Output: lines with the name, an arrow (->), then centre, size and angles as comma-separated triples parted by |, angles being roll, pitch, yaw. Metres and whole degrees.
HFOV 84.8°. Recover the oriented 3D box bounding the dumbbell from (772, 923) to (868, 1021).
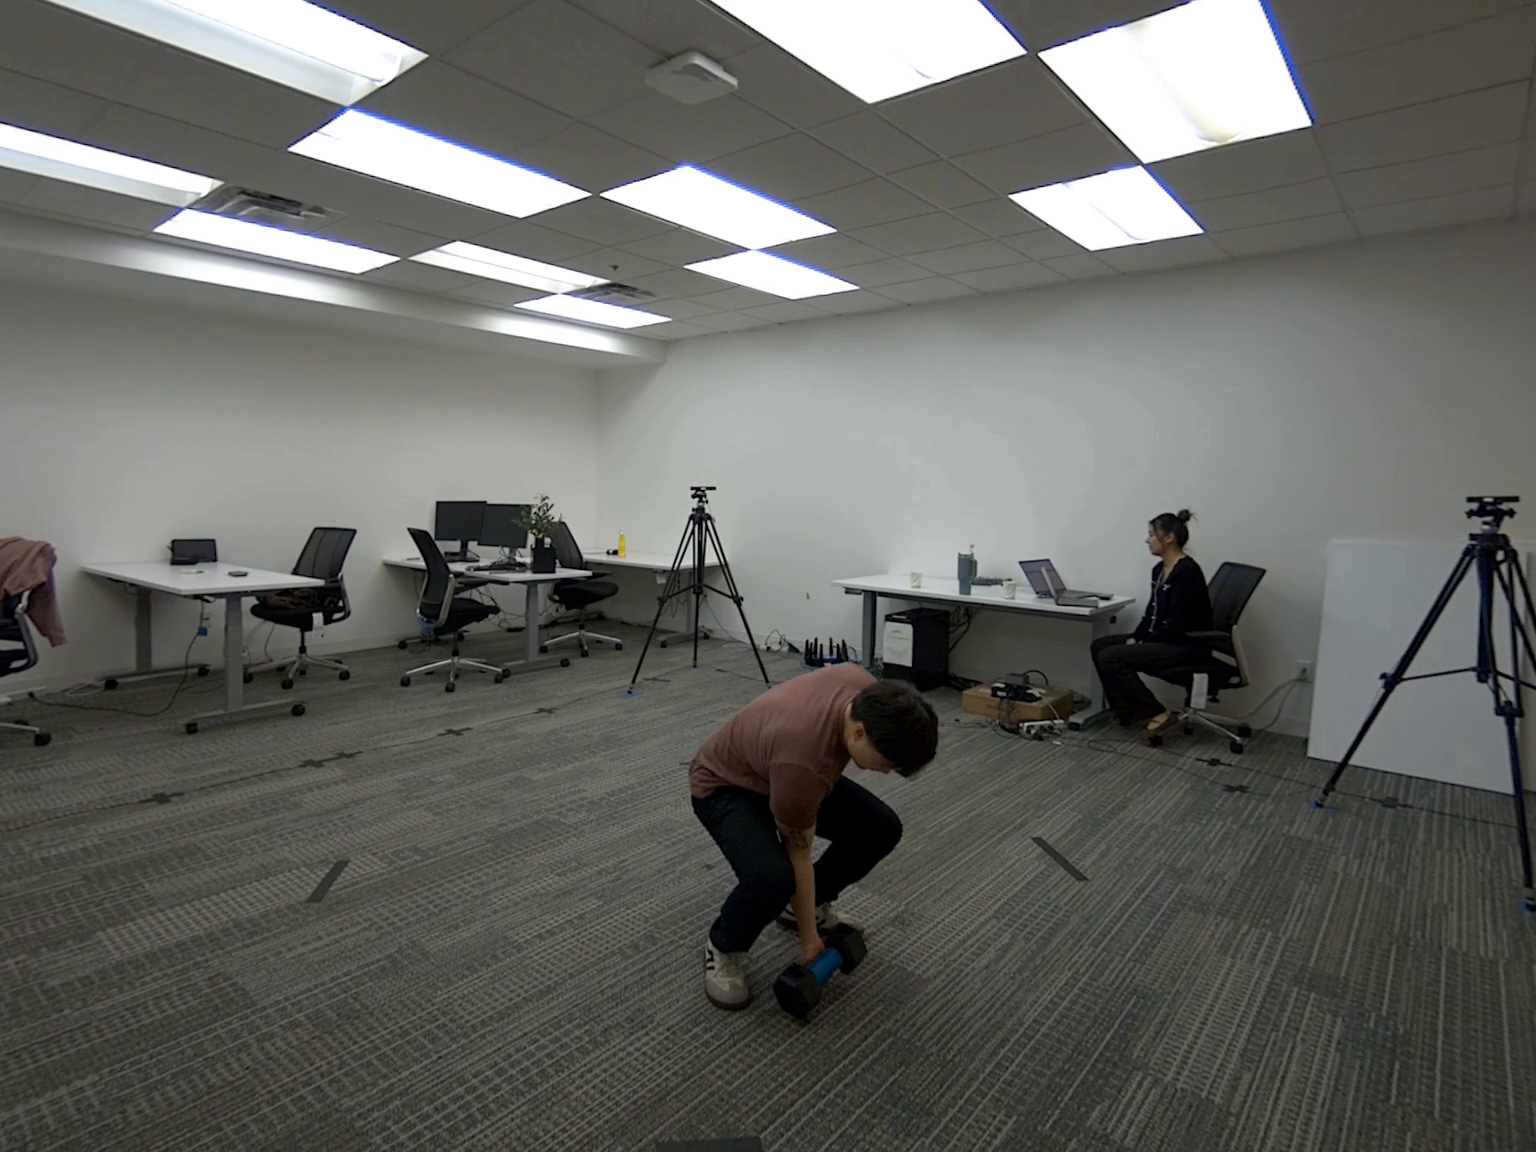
dumbbell -> 0.141, 1.048, 2.307 | 0.127, 0.107, 0.286 | 6, 15, 42
